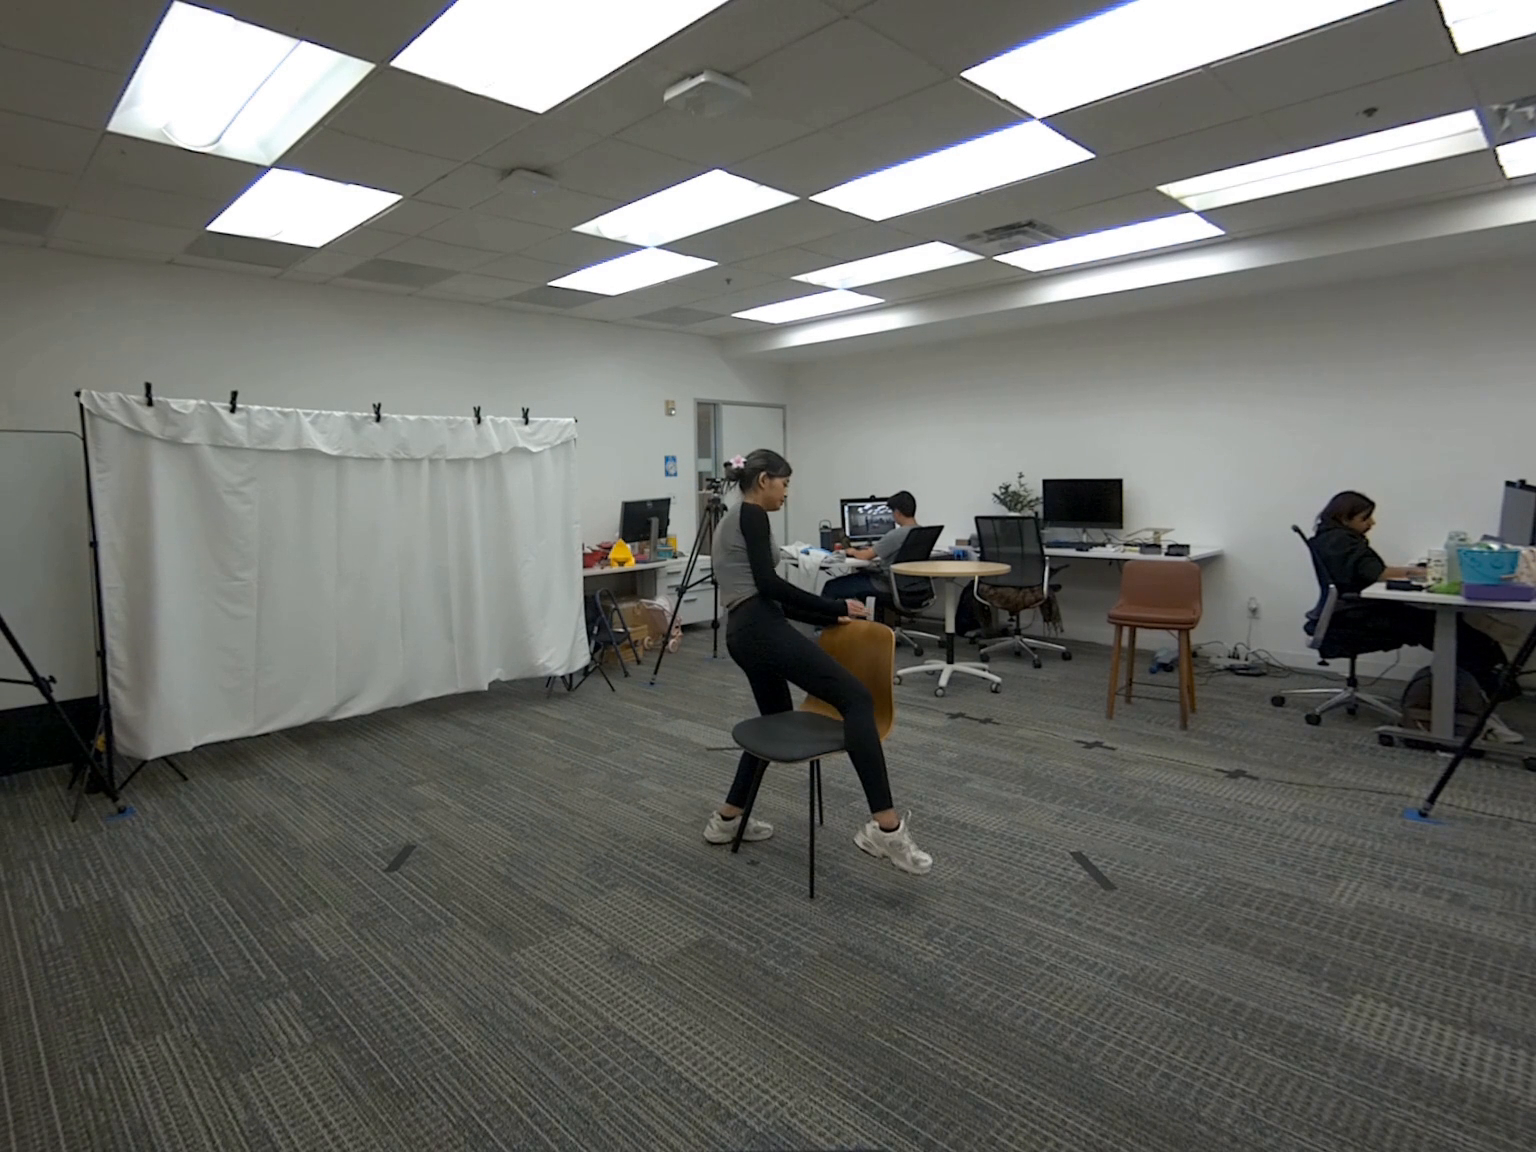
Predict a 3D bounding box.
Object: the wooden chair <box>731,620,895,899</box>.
[{"bbox_3d":[0.174,0.614,3.097,0.508,0.876,0.492,2,2,-38],"label":"wooden chair"}]
